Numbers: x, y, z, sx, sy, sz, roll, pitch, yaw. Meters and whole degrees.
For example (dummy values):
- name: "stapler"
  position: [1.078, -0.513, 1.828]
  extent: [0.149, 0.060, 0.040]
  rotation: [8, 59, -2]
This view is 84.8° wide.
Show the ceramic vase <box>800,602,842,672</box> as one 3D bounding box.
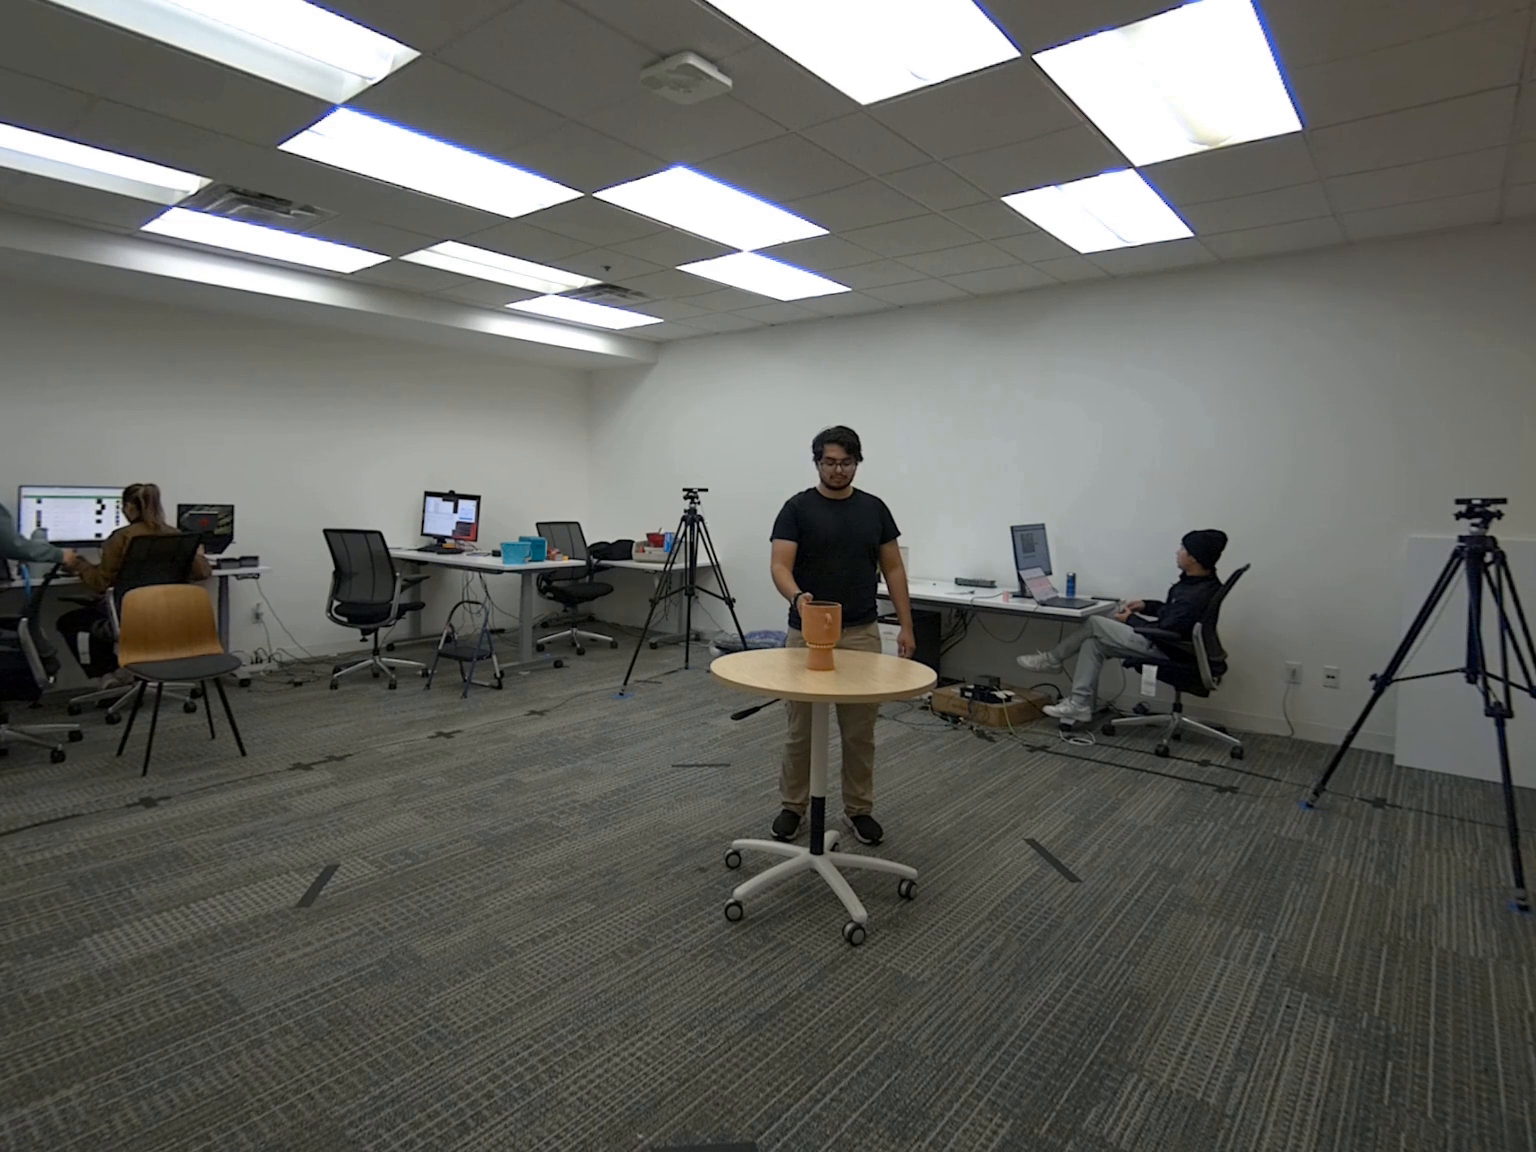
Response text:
- name: "ceramic vase"
  position: [0.170, 0.201, 2.919]
  extent: [0.138, 0.219, 0.155]
  rotation: [1, 3, 30]
